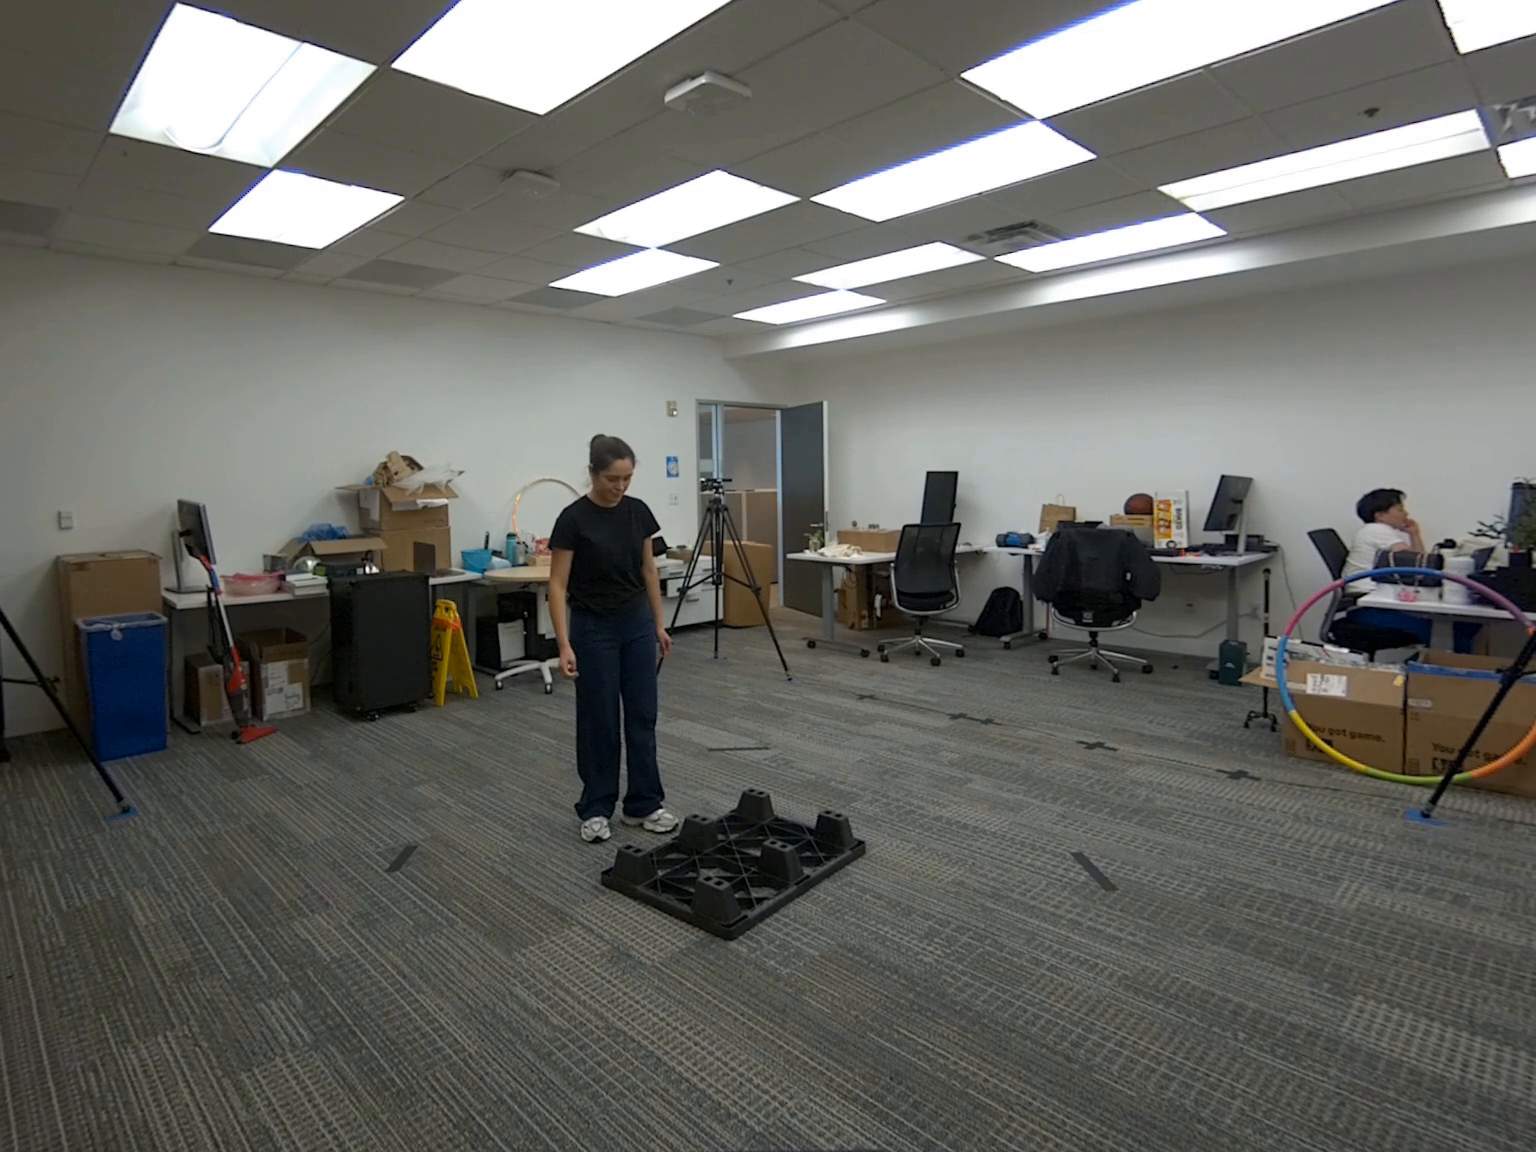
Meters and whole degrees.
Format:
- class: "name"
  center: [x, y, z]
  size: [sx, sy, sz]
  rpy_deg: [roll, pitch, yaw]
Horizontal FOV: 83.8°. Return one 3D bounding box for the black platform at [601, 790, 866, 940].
- class: "black platform"
  center: [-0.110, 0.981, 3.087]
  size: [0.623, 0.142, 0.785]
  rpy_deg: [5, 8, 39]
